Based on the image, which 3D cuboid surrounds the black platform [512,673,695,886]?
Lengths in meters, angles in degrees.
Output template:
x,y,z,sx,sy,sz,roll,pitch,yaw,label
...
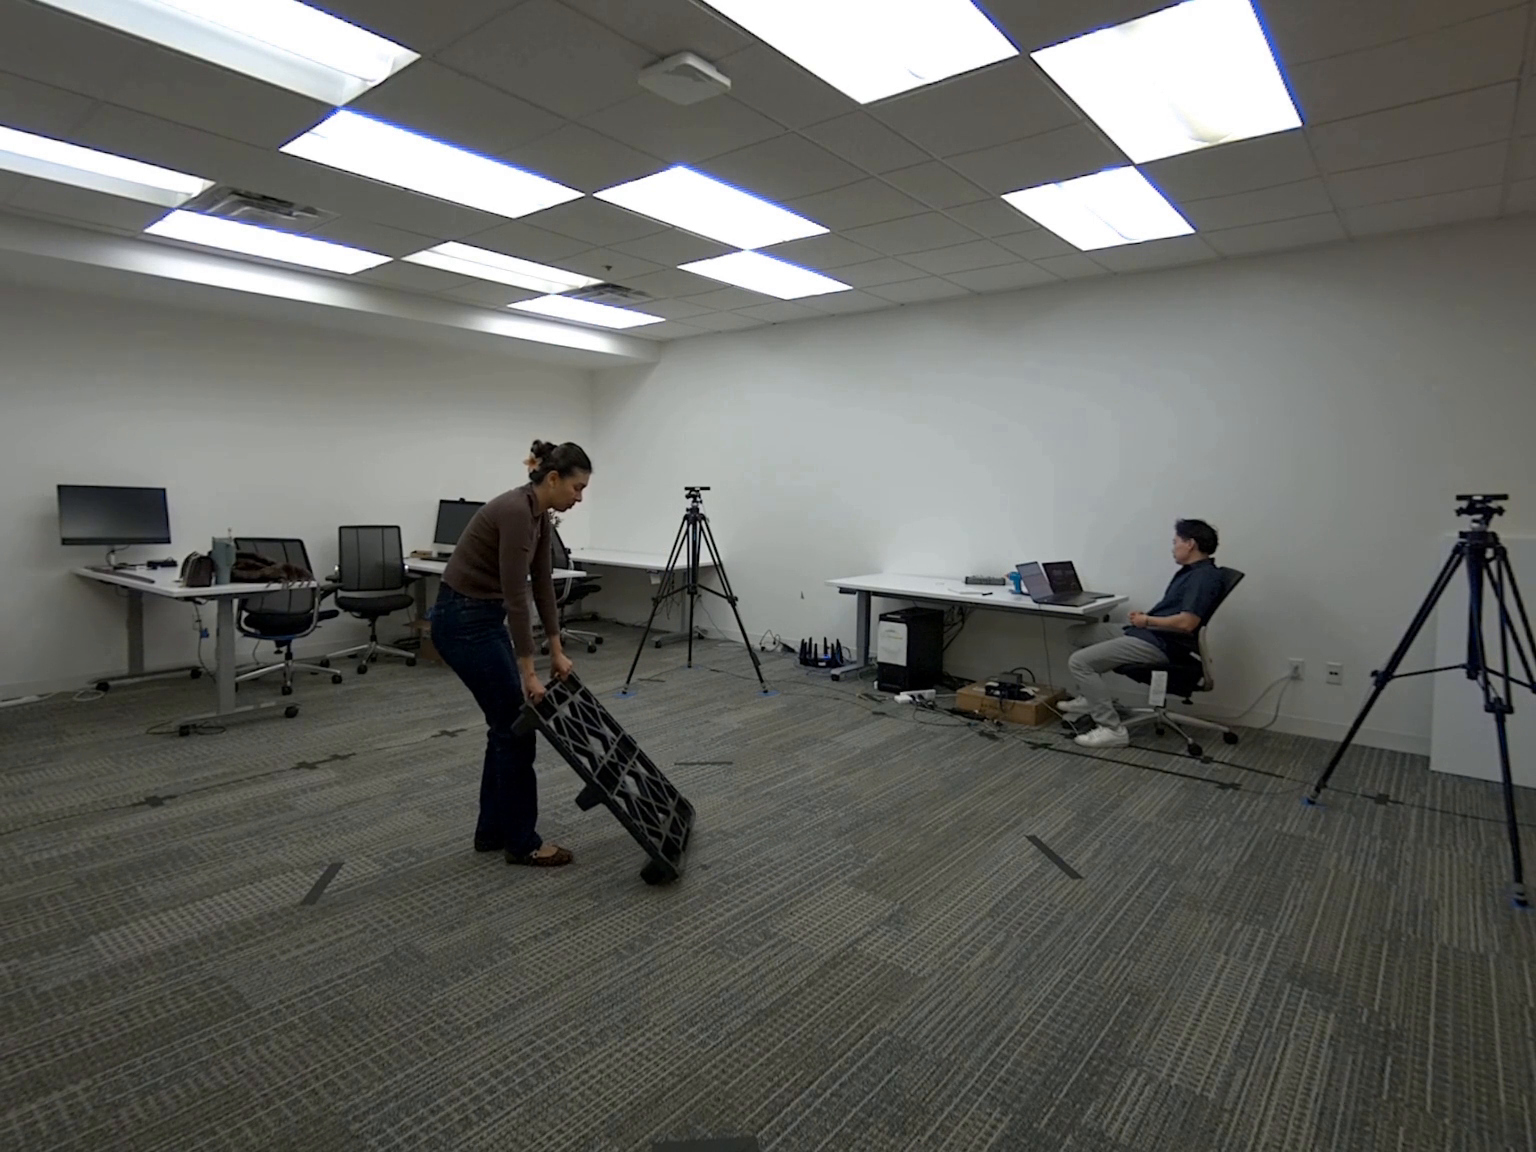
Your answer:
x,y,z,sx,sy,sz,roll,pitch,yaw,label
-0.619,0.733,3.199,0.143,0.807,0.604,-41,0,3,black platform
